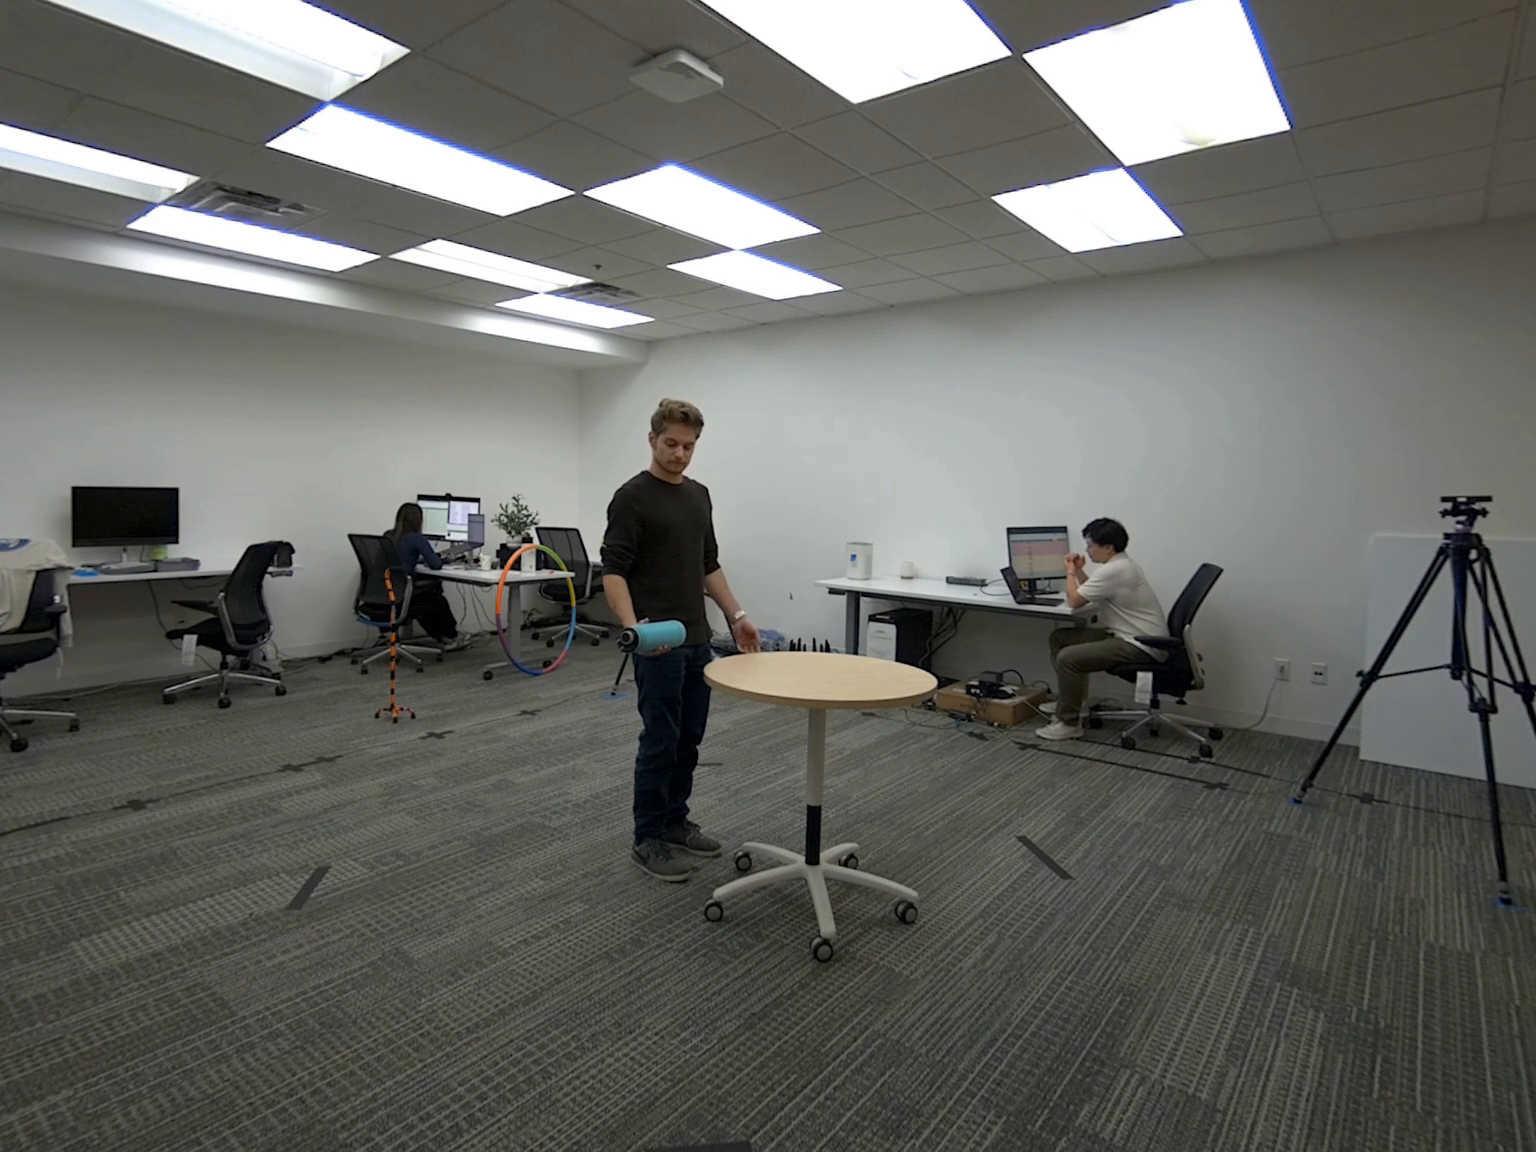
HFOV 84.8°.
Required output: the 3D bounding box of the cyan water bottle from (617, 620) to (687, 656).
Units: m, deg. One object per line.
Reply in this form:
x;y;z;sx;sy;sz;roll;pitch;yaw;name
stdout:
-0.396;0.196;2.766;0.095;0.092;0.275;3;4;30;cyan water bottle
